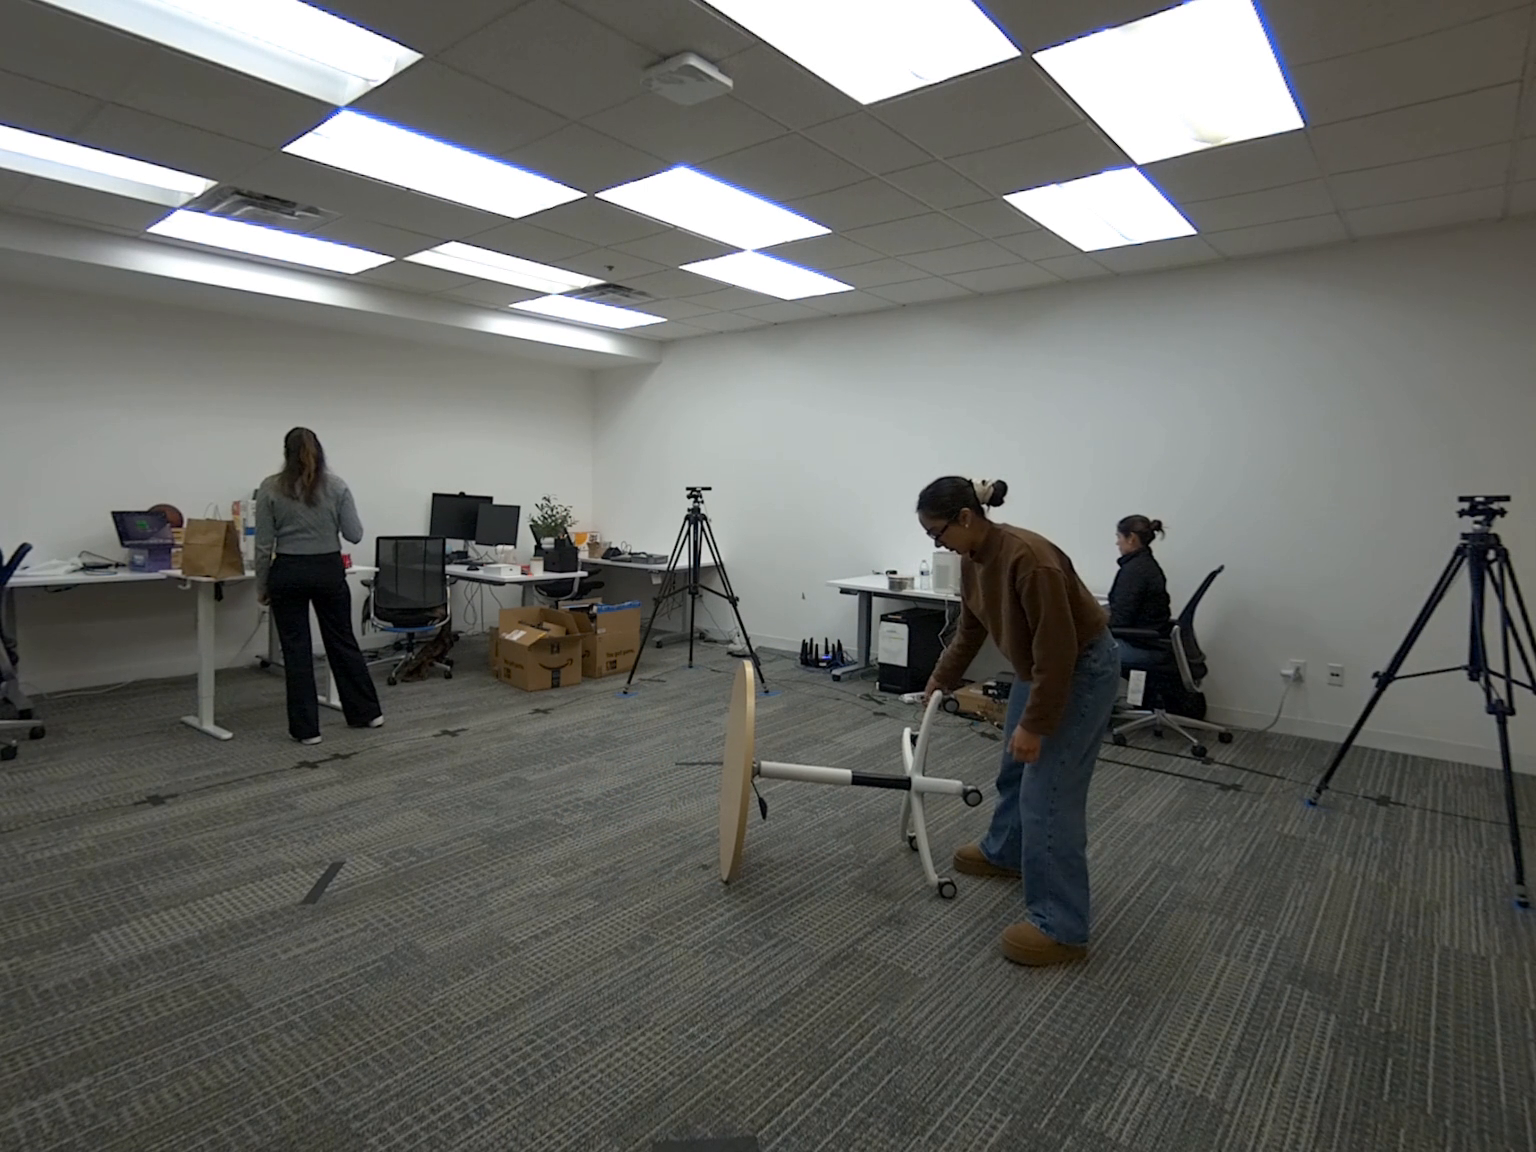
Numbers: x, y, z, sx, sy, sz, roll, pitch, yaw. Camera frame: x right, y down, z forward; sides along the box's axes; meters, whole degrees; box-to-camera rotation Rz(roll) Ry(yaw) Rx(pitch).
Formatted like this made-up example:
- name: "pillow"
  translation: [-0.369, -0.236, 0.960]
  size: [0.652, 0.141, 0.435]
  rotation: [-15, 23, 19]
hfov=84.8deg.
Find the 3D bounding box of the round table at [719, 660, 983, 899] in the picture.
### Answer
- name: "round table"
  translation: [0.256, 0.731, 3.091]
  size: [0.791, 0.762, 0.769]
  rotation: [6, 4, -4]
